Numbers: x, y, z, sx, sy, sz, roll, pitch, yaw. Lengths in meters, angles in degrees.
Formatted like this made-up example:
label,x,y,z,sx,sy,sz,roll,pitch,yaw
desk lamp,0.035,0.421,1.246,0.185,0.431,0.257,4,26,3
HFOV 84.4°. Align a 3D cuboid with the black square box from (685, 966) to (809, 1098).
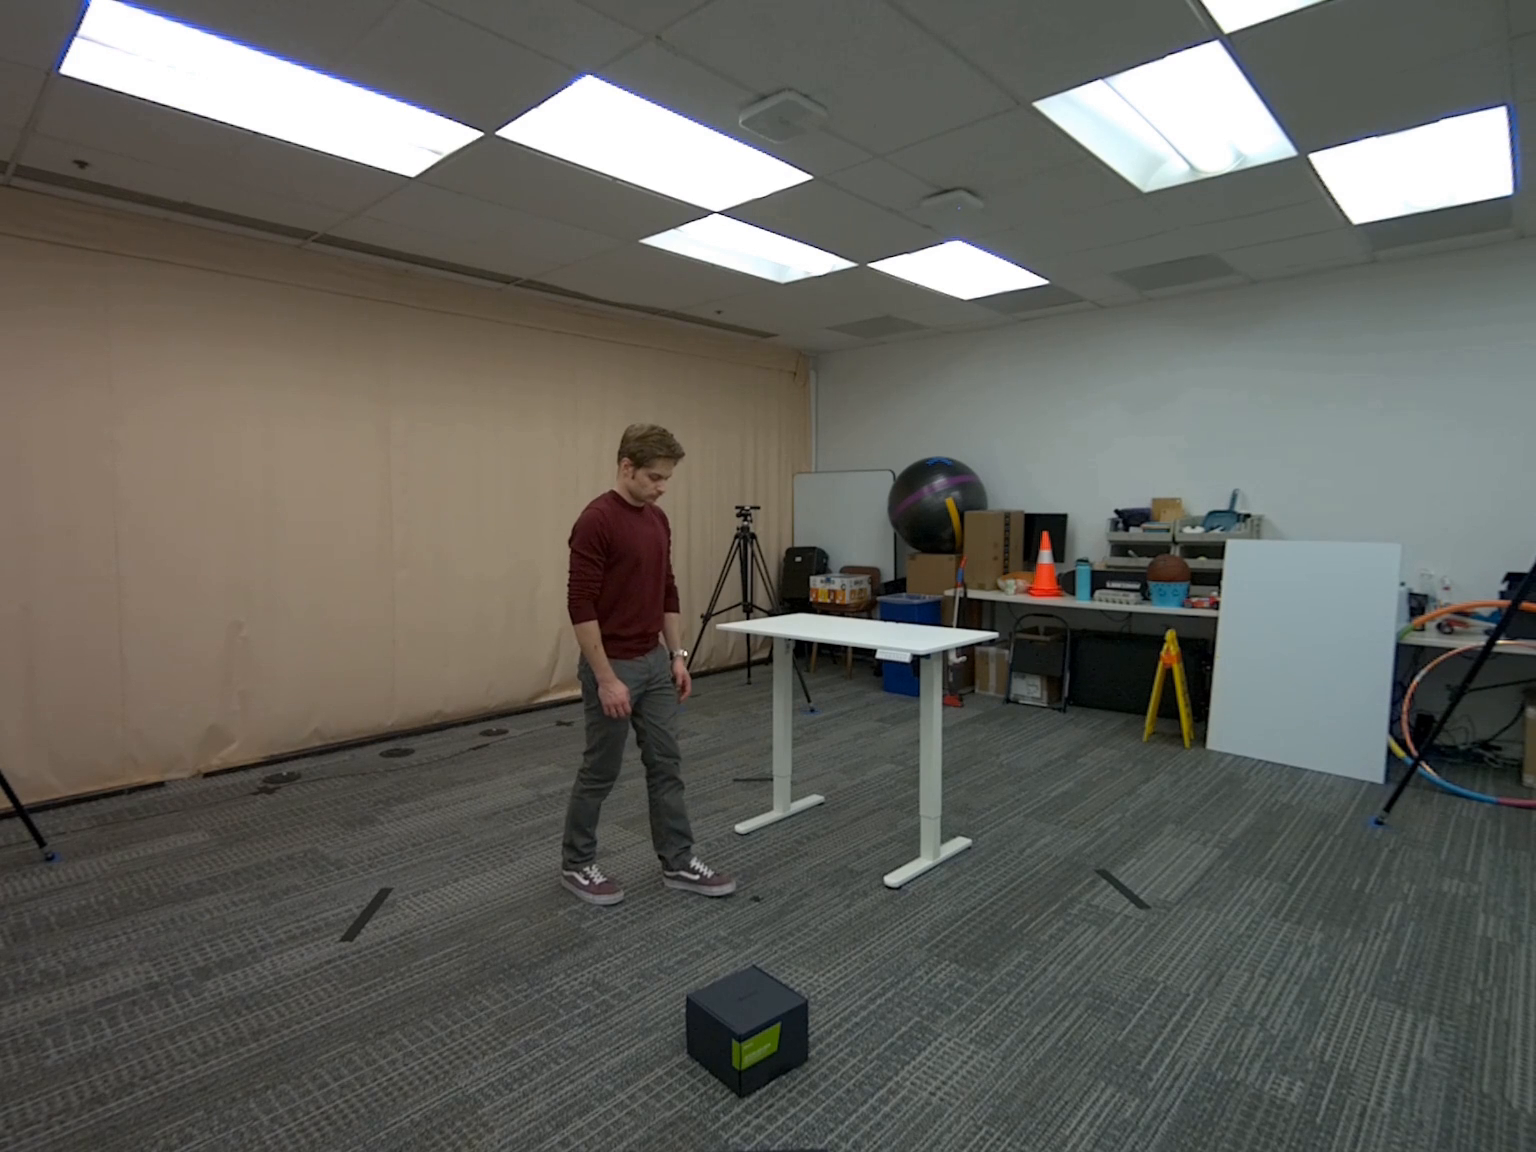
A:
label,x,y,z,sx,sy,sz,roll,pitch,yaw
black square box,-0.047,1.135,2.119,0.221,0.155,0.224,-4,5,-41
